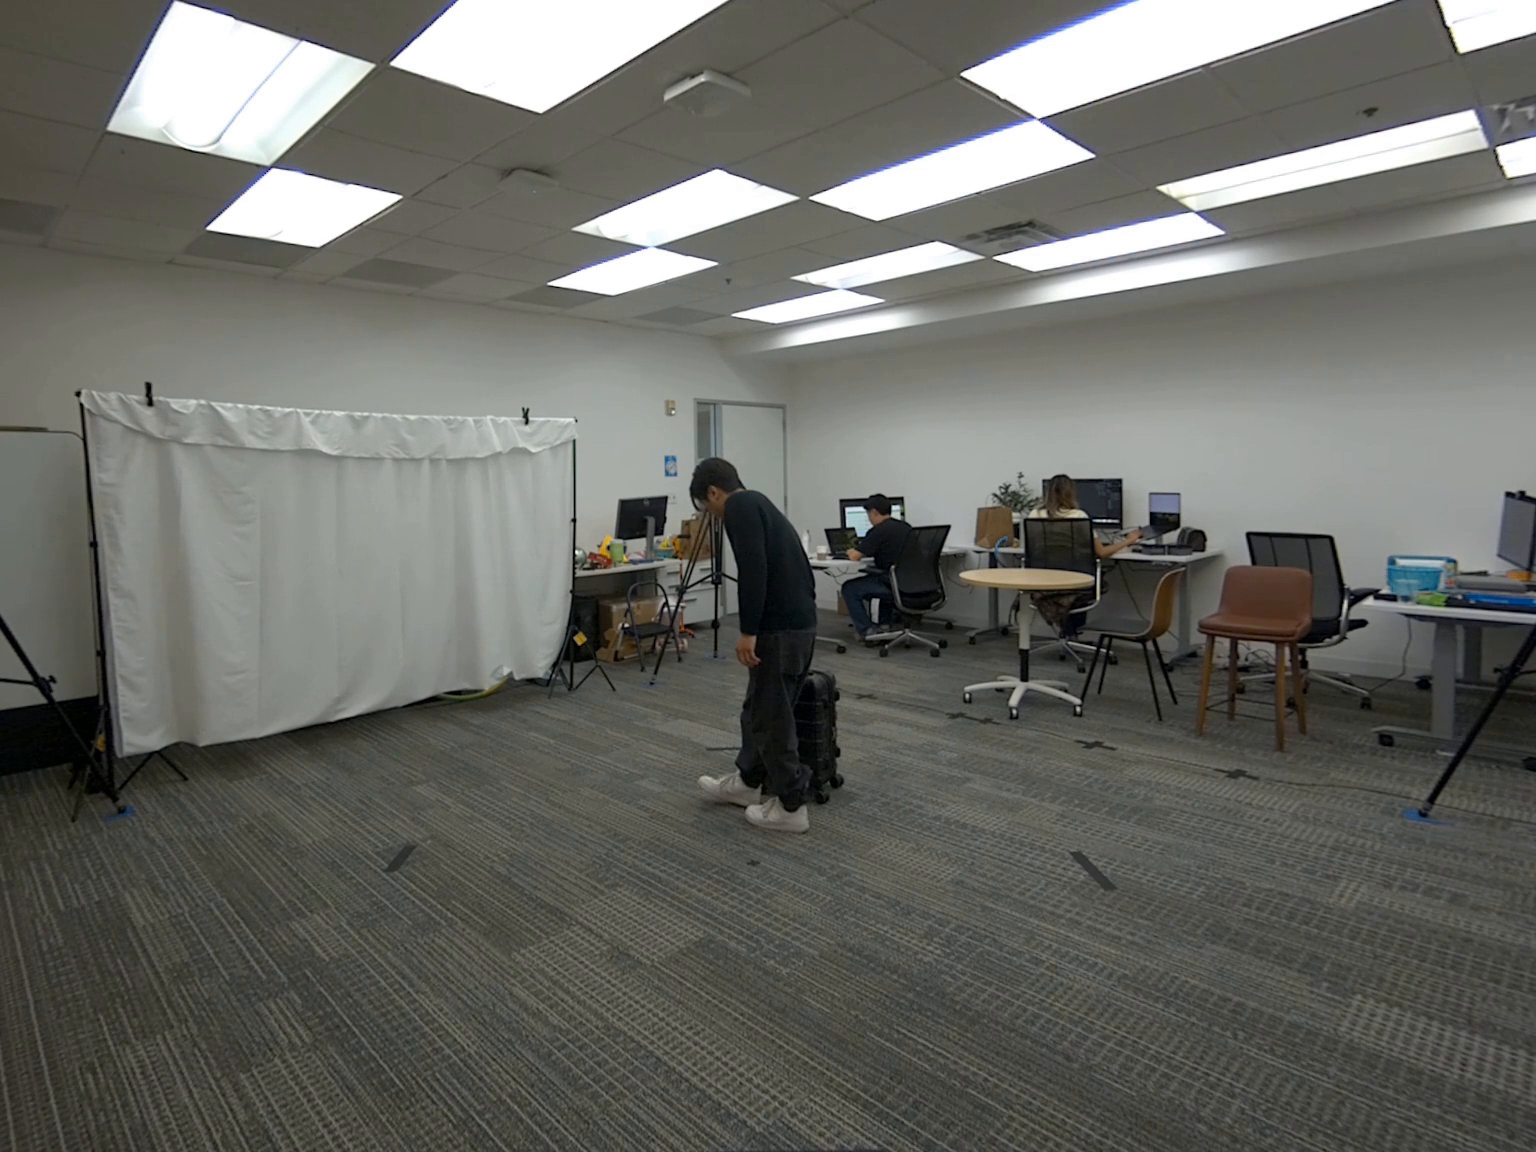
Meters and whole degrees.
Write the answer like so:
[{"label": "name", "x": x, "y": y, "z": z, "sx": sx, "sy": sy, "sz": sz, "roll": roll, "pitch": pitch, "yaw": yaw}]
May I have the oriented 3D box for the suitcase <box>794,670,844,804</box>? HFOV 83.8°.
[{"label": "suitcase", "x": 0.120, "y": 0.680, "z": 3.830, "sx": 0.384, "sy": 0.548, "sz": 0.243, "roll": 0, "pitch": 3, "yaw": 24}]
